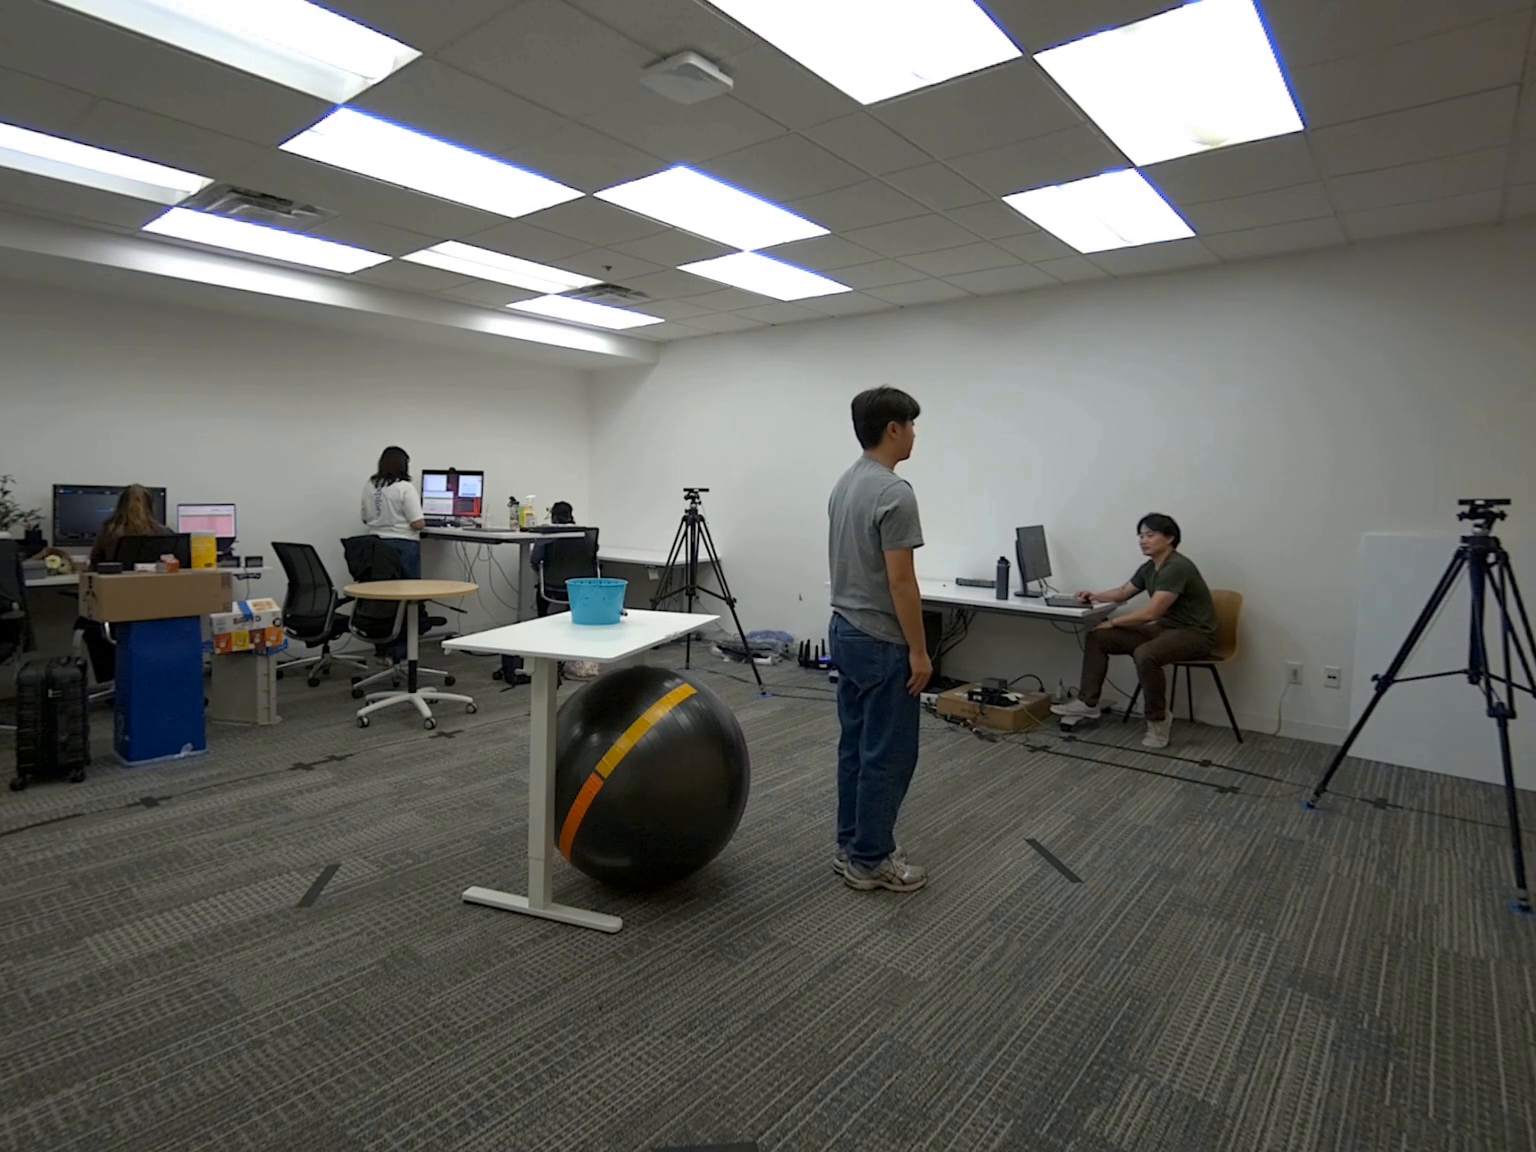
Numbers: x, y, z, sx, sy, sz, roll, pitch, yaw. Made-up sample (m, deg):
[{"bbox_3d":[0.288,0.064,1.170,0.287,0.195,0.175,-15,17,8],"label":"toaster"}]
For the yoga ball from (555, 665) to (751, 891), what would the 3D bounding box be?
[{"bbox_3d":[-0.452,0.695,3.021,0.757,0.755,0.762,1,4,-2],"label":"yoga ball"}]
